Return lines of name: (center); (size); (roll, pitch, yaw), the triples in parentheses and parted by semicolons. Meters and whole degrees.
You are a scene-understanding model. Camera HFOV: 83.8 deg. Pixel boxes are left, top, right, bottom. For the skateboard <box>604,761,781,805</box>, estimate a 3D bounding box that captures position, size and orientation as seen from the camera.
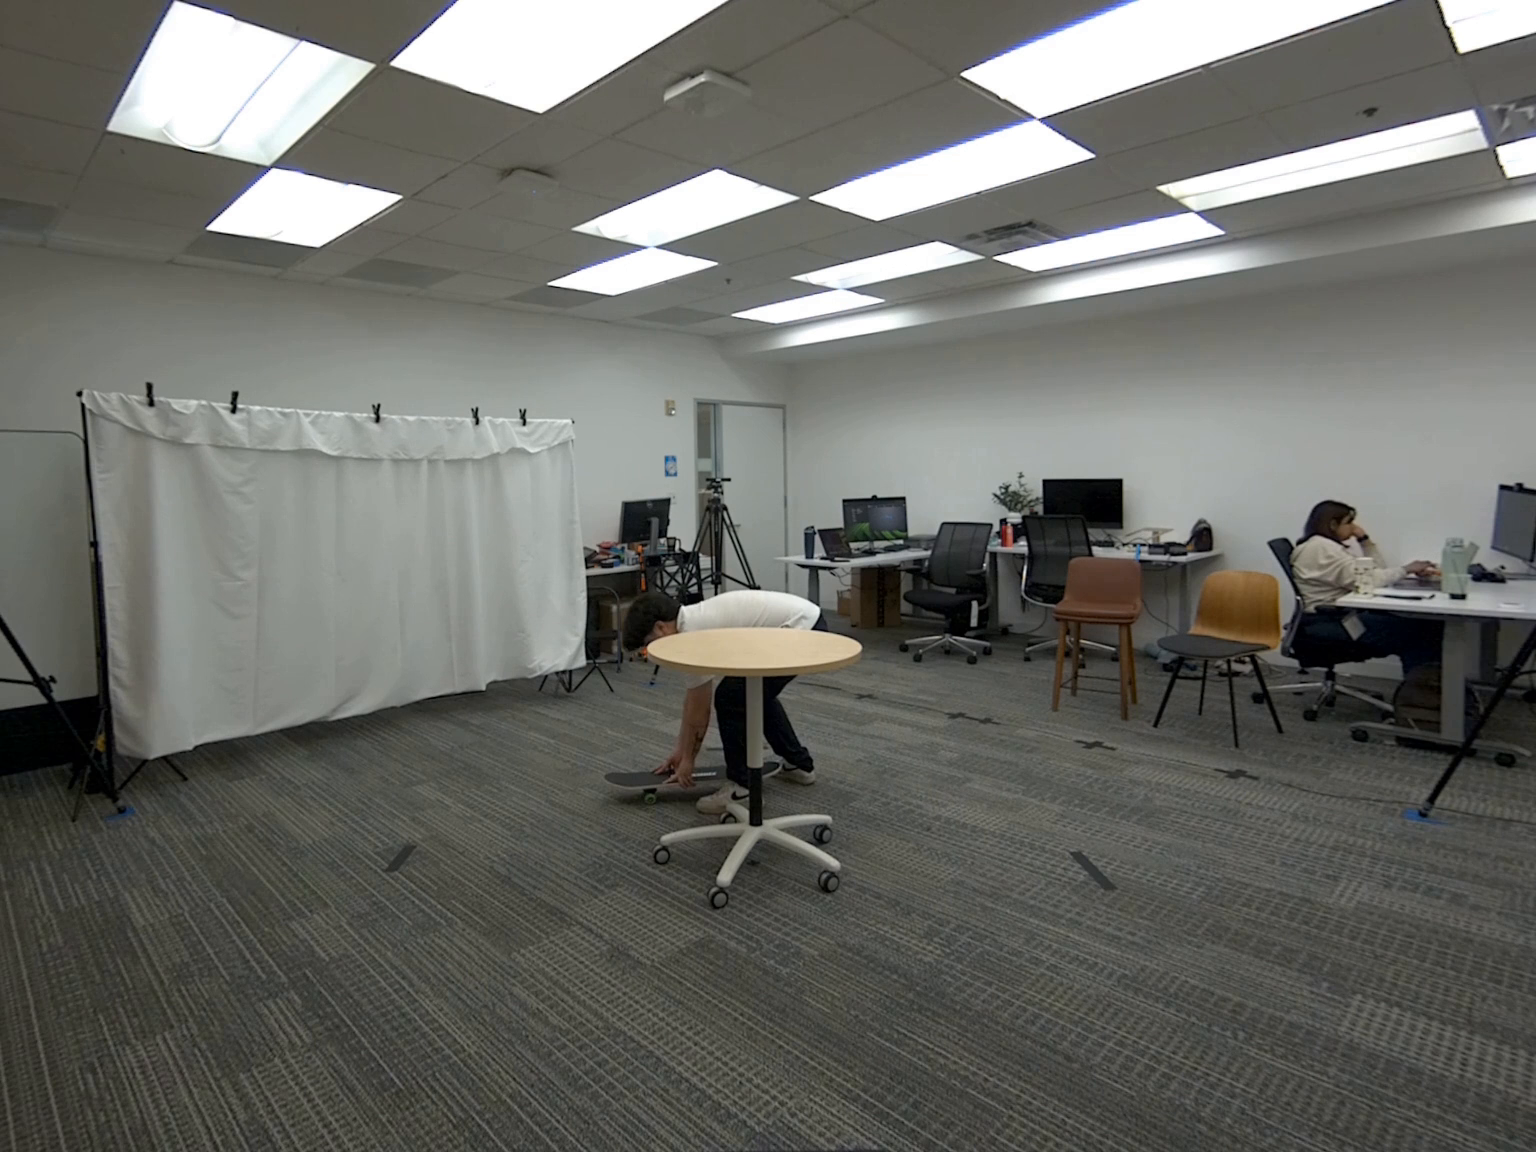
skateboard: (-0.323, 0.914, 3.790); (0.781, 0.110, 0.195); (-2, 6, -6)
